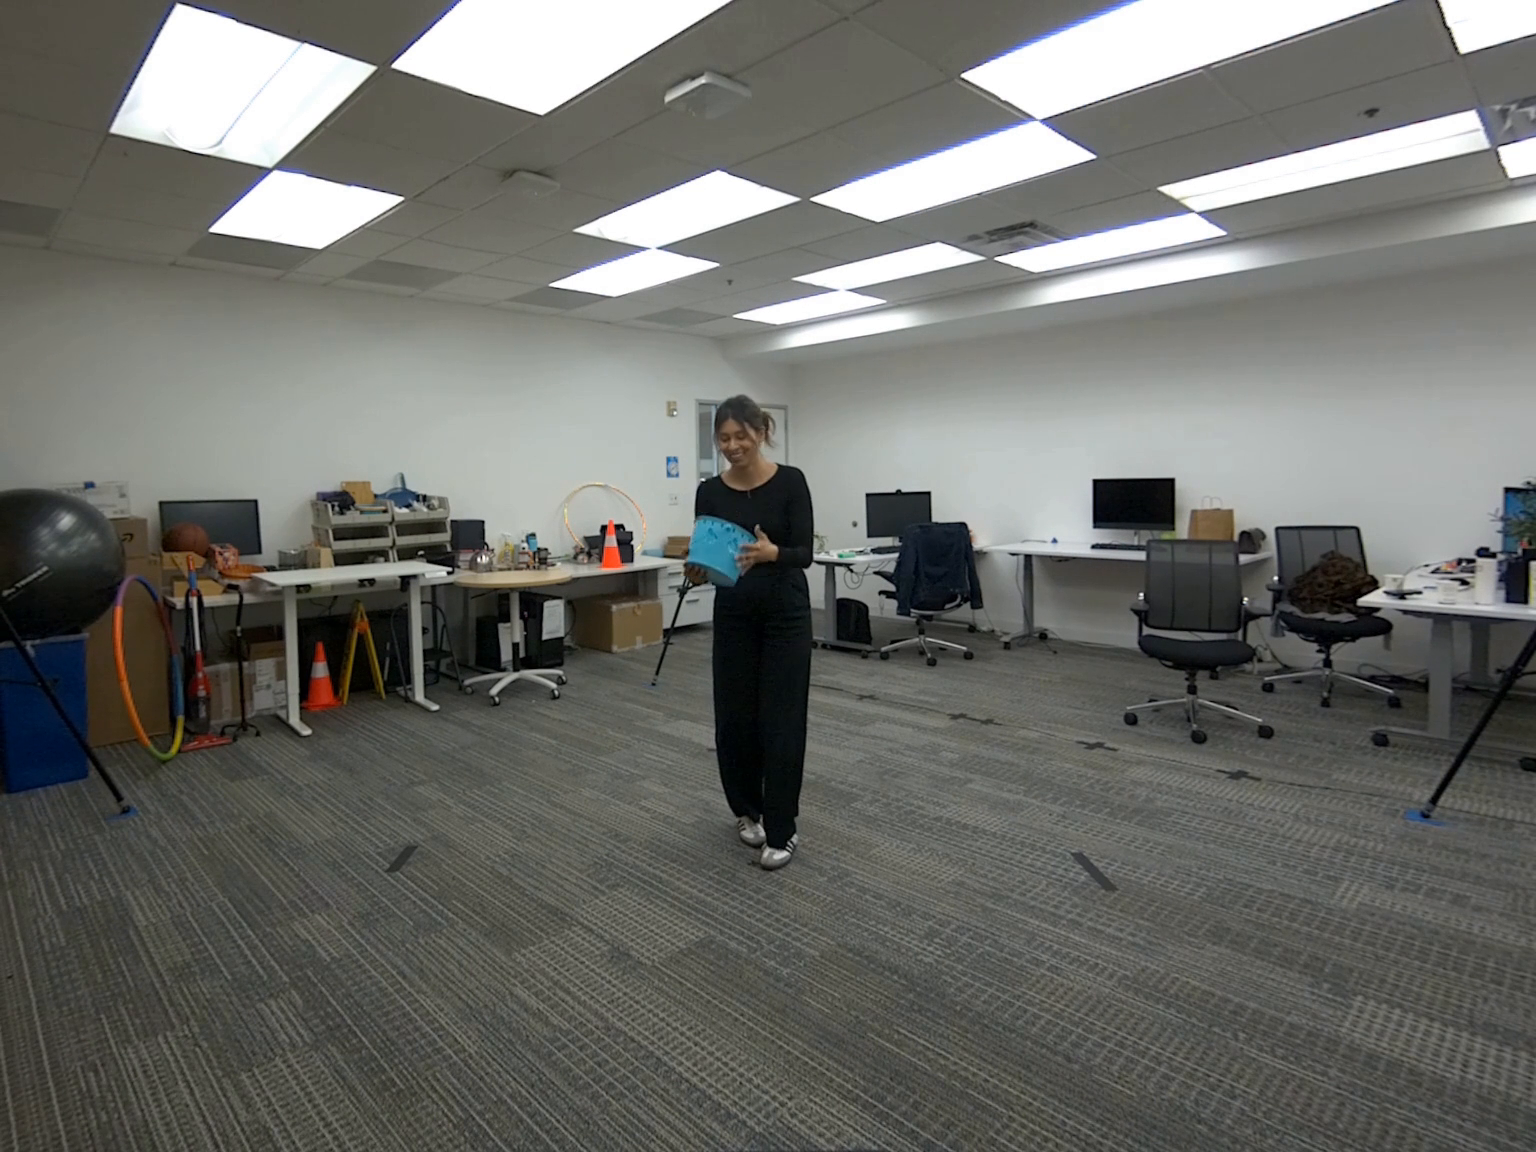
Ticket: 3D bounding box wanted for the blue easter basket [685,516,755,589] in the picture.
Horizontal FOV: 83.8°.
[{"bbox_3d":[-0.169,-0.074,2.850,0.245,0.157,0.240,21,-15,4],"label":"blue easter basket"}]
